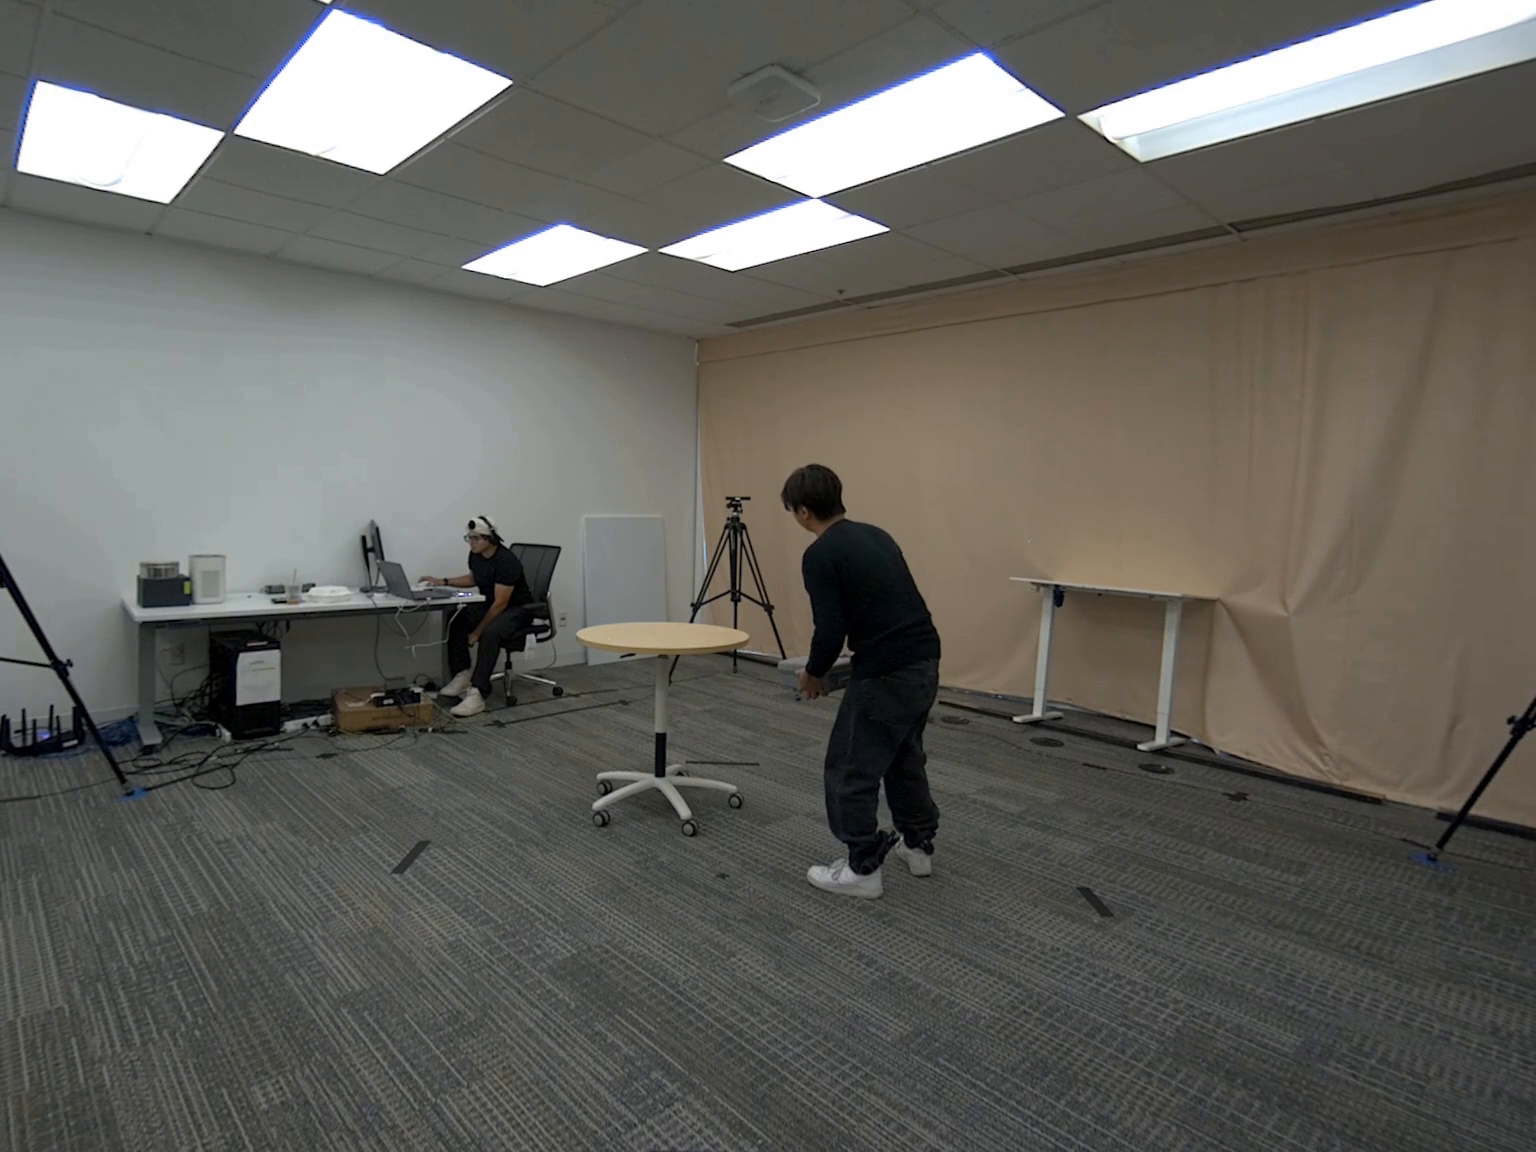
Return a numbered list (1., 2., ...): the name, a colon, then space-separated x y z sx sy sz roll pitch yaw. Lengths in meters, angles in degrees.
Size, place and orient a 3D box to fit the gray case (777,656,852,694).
1. gray case: 0.199 0.369 3.244 0.267 0.104 0.251 2 3 38
